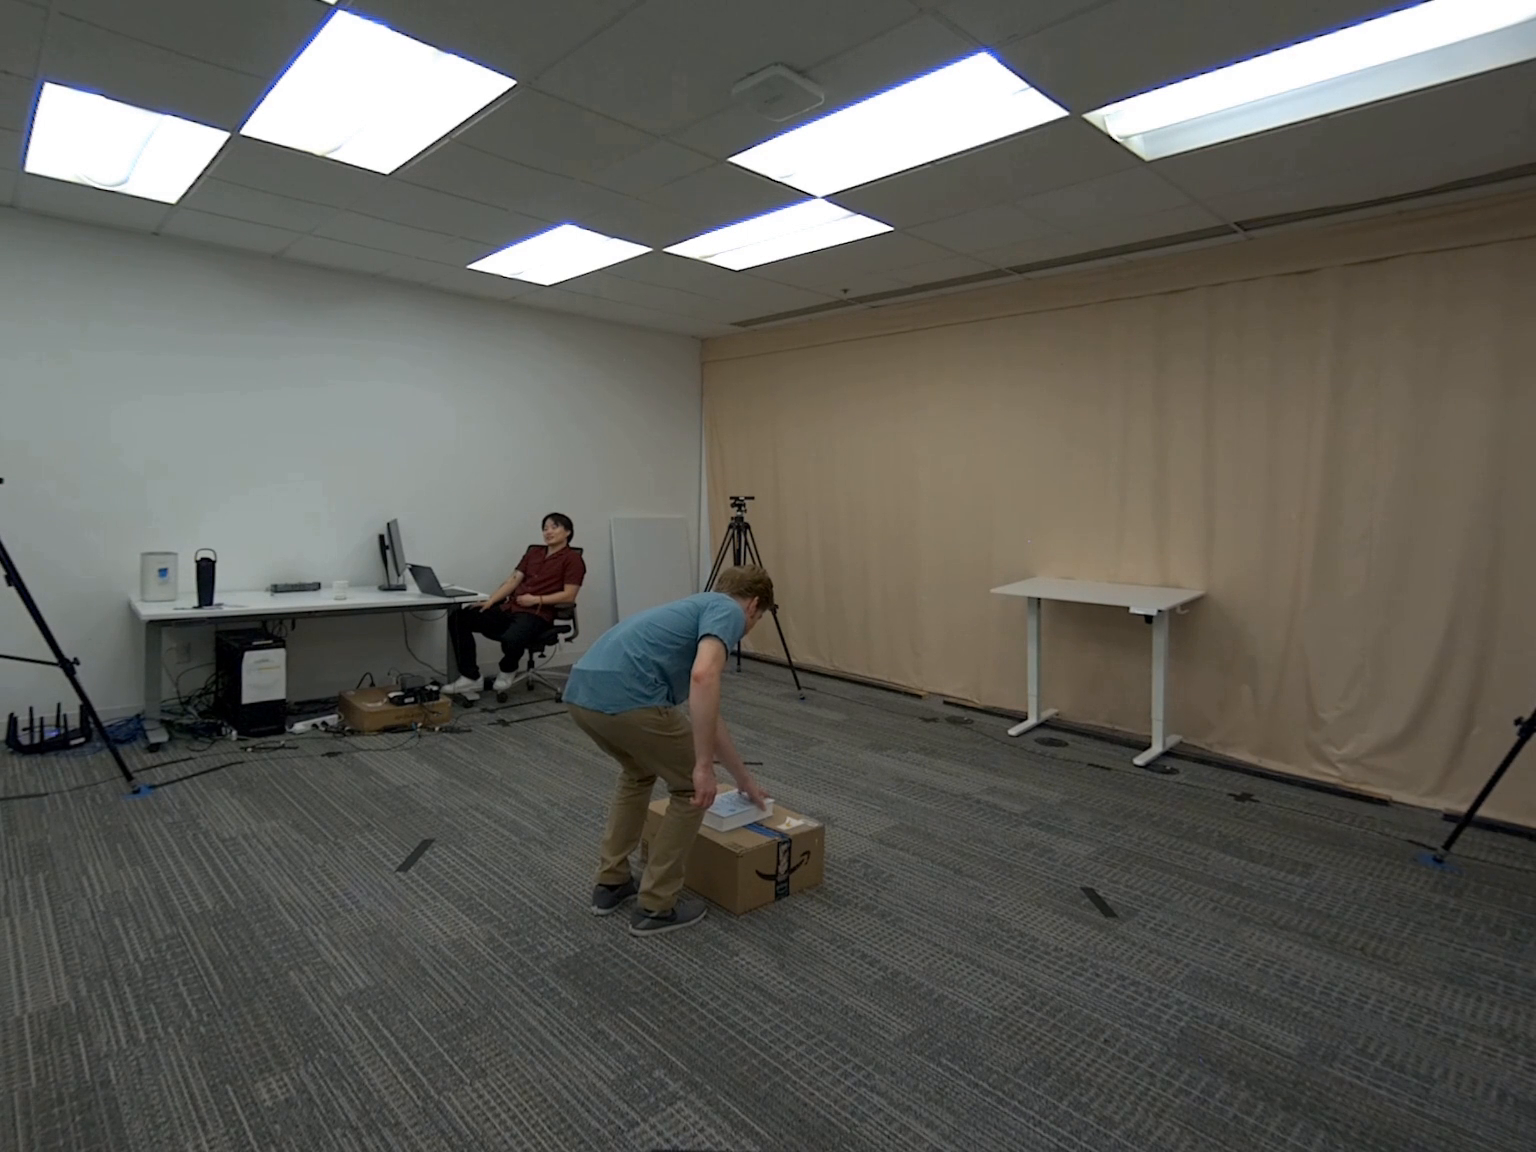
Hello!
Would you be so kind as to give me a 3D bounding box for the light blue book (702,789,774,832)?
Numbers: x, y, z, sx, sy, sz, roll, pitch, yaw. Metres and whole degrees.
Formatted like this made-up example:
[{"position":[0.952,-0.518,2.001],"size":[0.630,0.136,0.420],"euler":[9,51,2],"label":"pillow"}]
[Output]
[{"position":[-0.141,0.862,3.122],"size":[0.196,0.059,0.255],"euler":[5,6,45],"label":"light blue book"}]
